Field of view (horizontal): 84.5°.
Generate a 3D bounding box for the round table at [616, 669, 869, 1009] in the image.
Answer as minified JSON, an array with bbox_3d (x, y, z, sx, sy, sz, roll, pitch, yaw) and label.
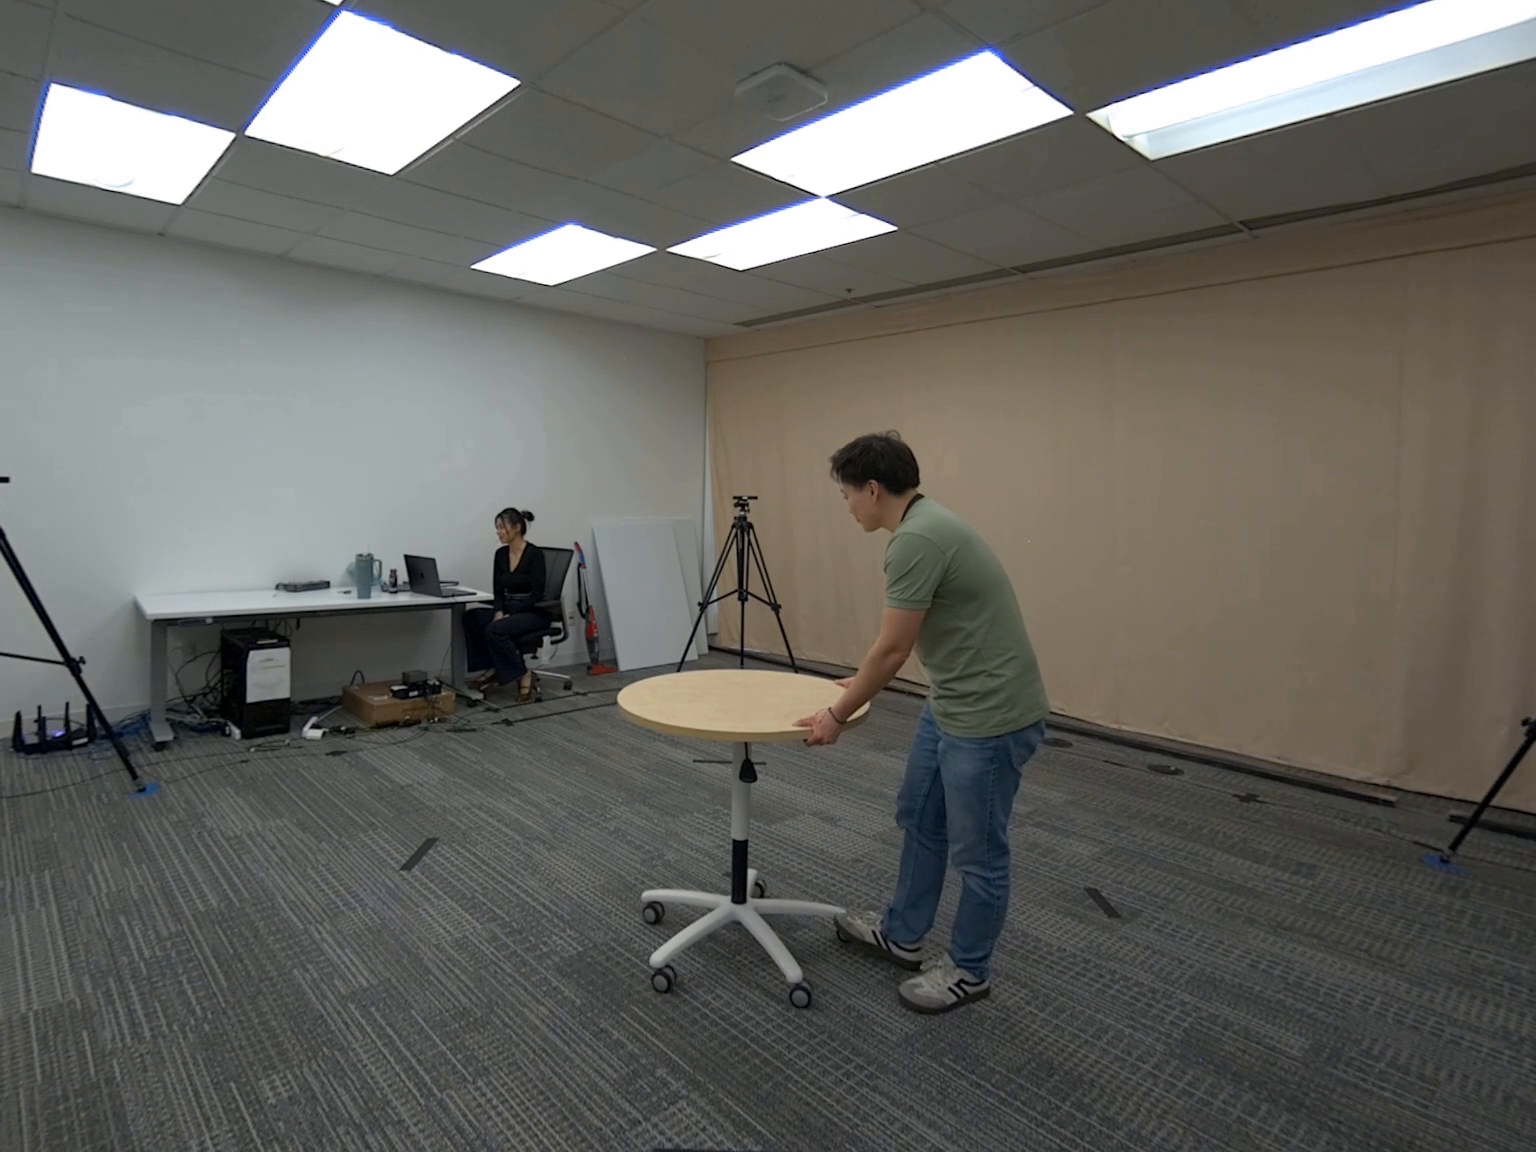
[{"bbox_3d":[-0.084,0.763,2.599,0.763,0.791,0.767,1,4,-1],"label":"round table"}]
